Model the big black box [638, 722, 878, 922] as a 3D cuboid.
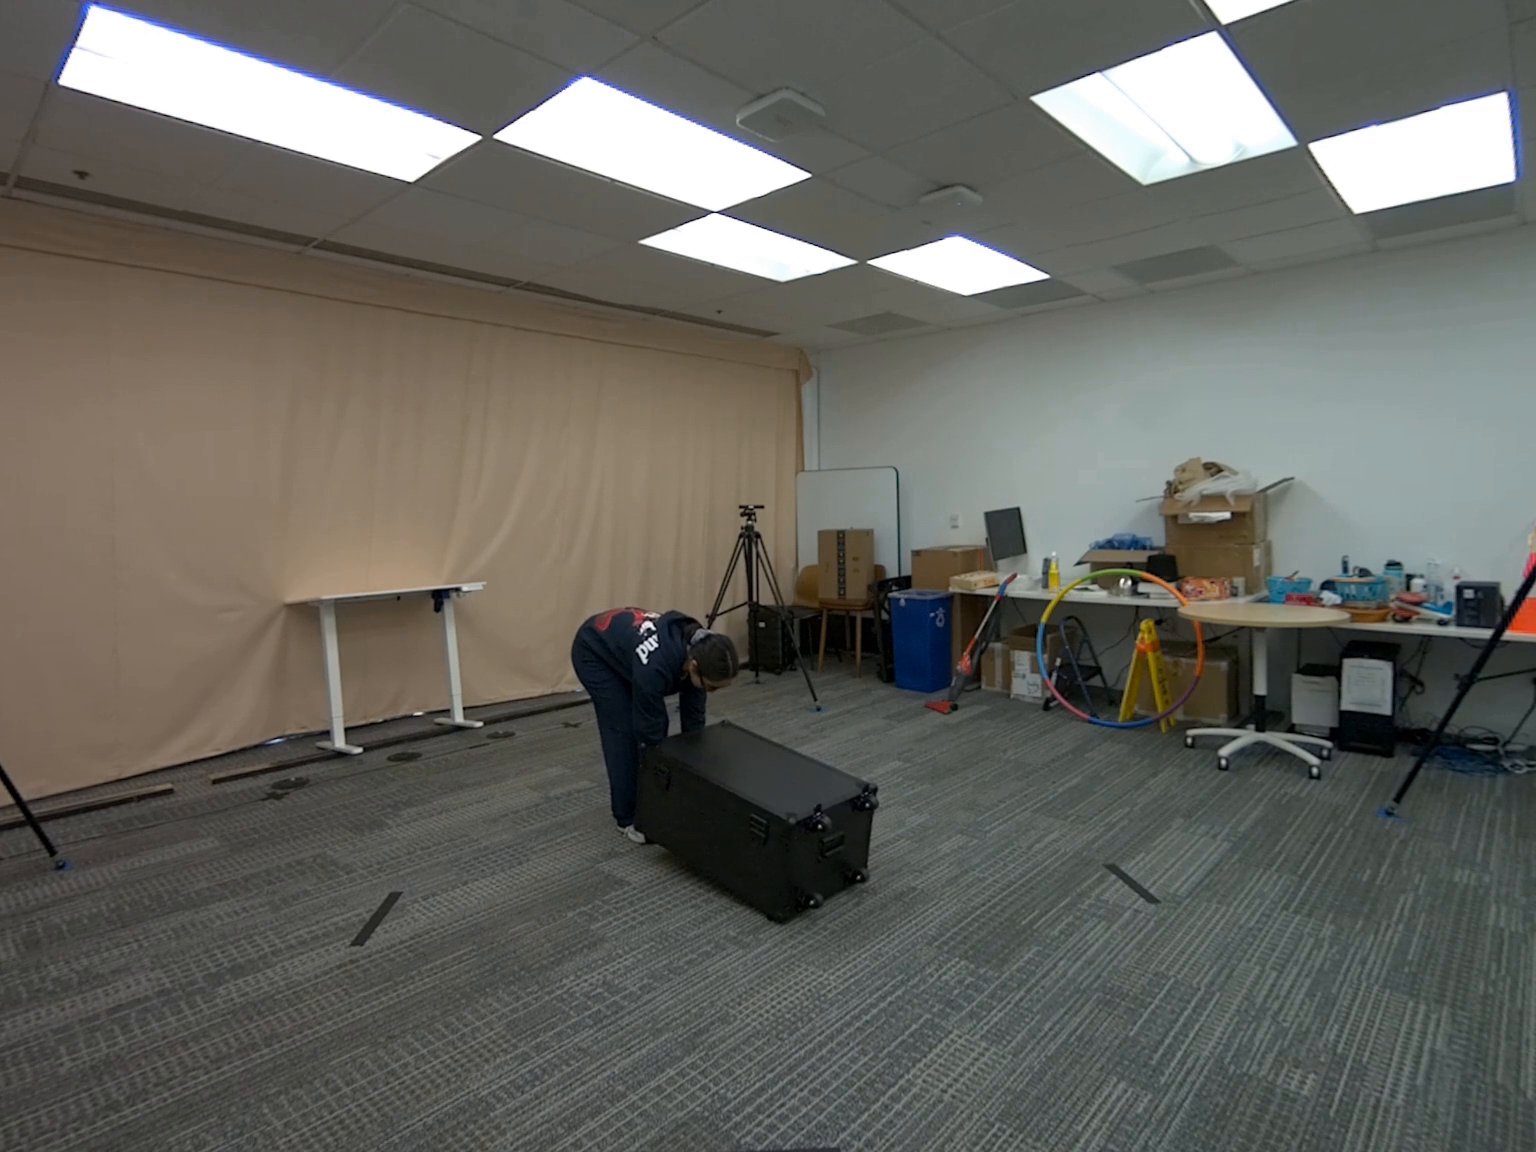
[{"bbox_3d":[-0.039,0.896,3.156,0.892,0.394,0.505,13,12,42],"label":"big black box"}]
